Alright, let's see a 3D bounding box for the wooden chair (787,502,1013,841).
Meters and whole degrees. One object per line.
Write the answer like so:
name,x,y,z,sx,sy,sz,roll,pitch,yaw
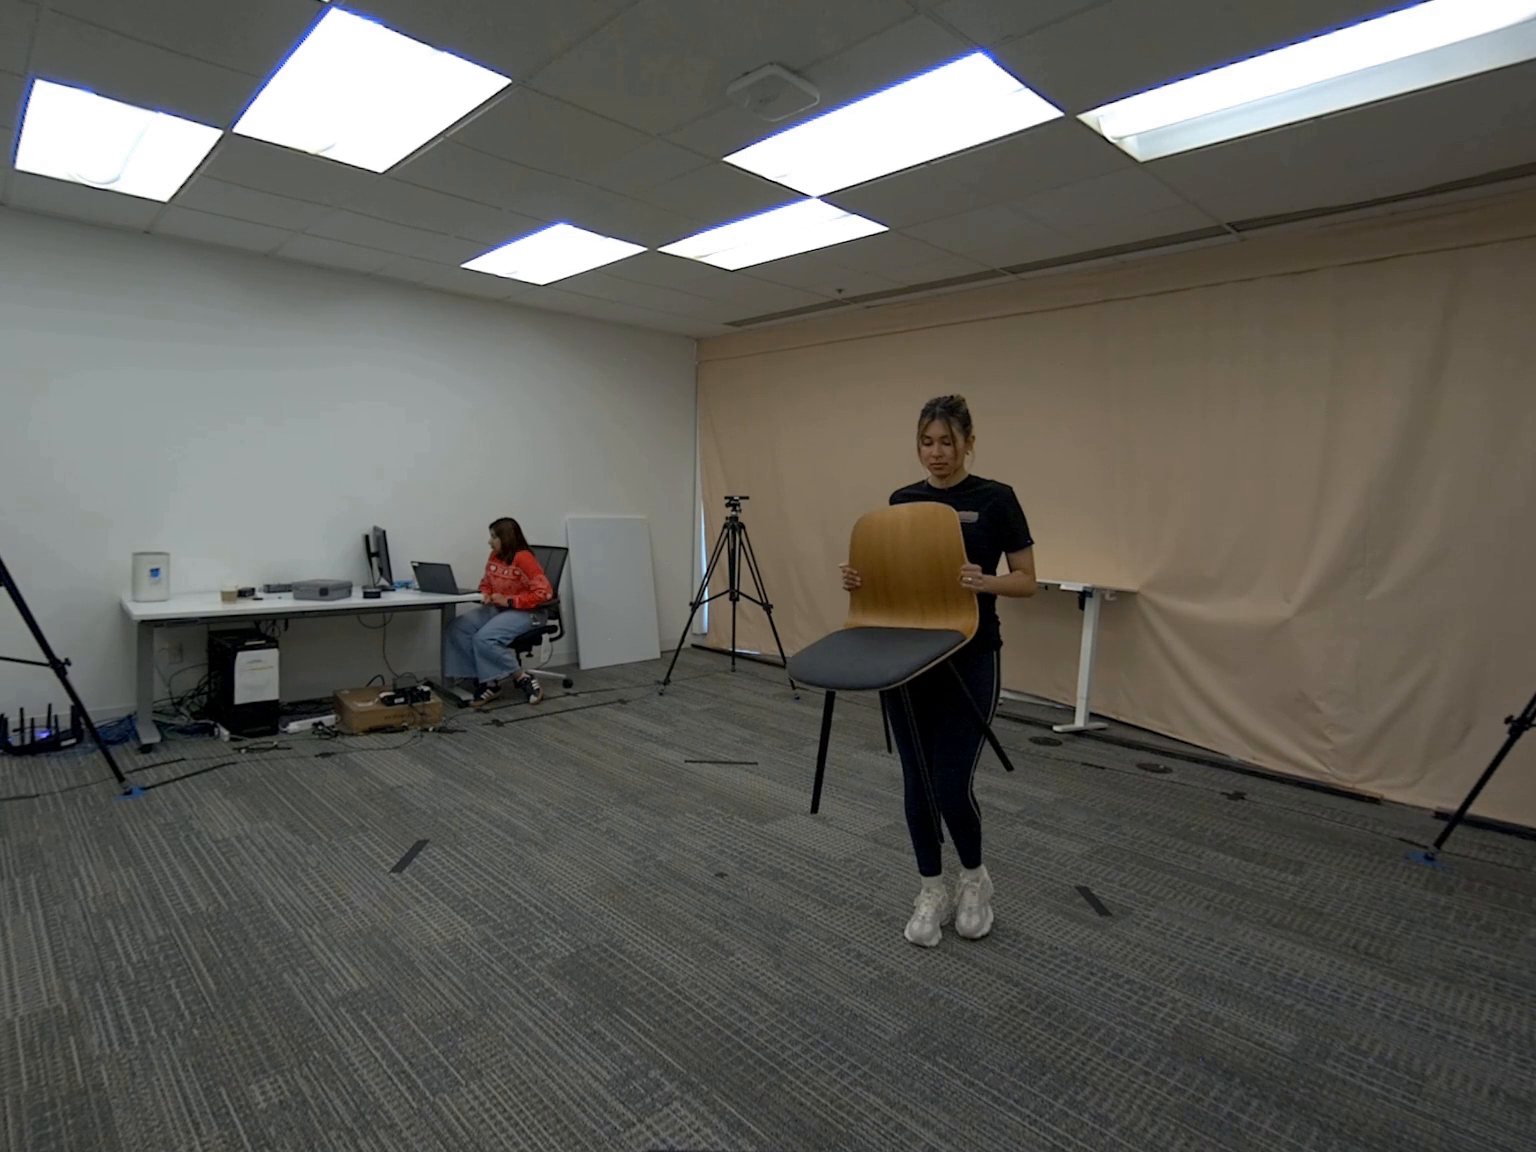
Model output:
wooden chair,0.347,0.258,2.495,0.489,0.872,0.514,-2,9,42
